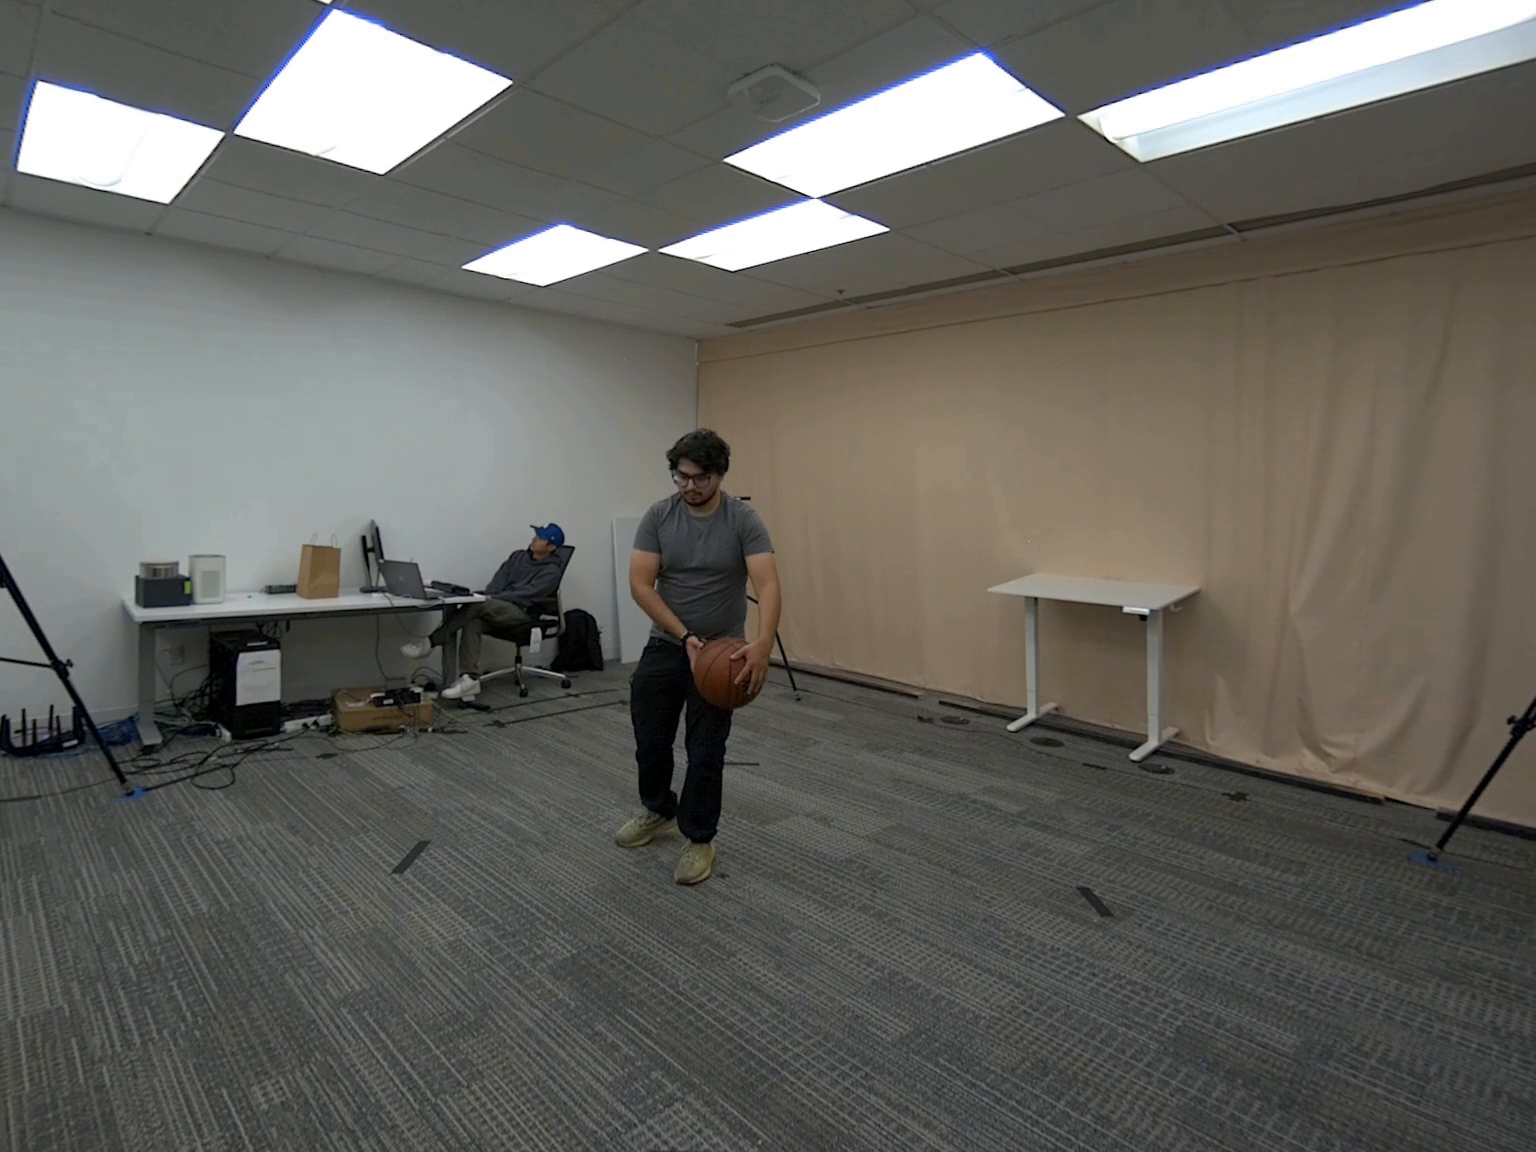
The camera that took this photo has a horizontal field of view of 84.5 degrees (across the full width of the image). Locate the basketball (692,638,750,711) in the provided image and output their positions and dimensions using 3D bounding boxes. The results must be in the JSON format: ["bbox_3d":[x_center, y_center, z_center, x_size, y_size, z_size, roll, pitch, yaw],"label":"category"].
[{"bbox_3d":[-0.137,0.320,2.803,0.236,0.235,0.237,1,4,-1],"label":"basketball"}]
